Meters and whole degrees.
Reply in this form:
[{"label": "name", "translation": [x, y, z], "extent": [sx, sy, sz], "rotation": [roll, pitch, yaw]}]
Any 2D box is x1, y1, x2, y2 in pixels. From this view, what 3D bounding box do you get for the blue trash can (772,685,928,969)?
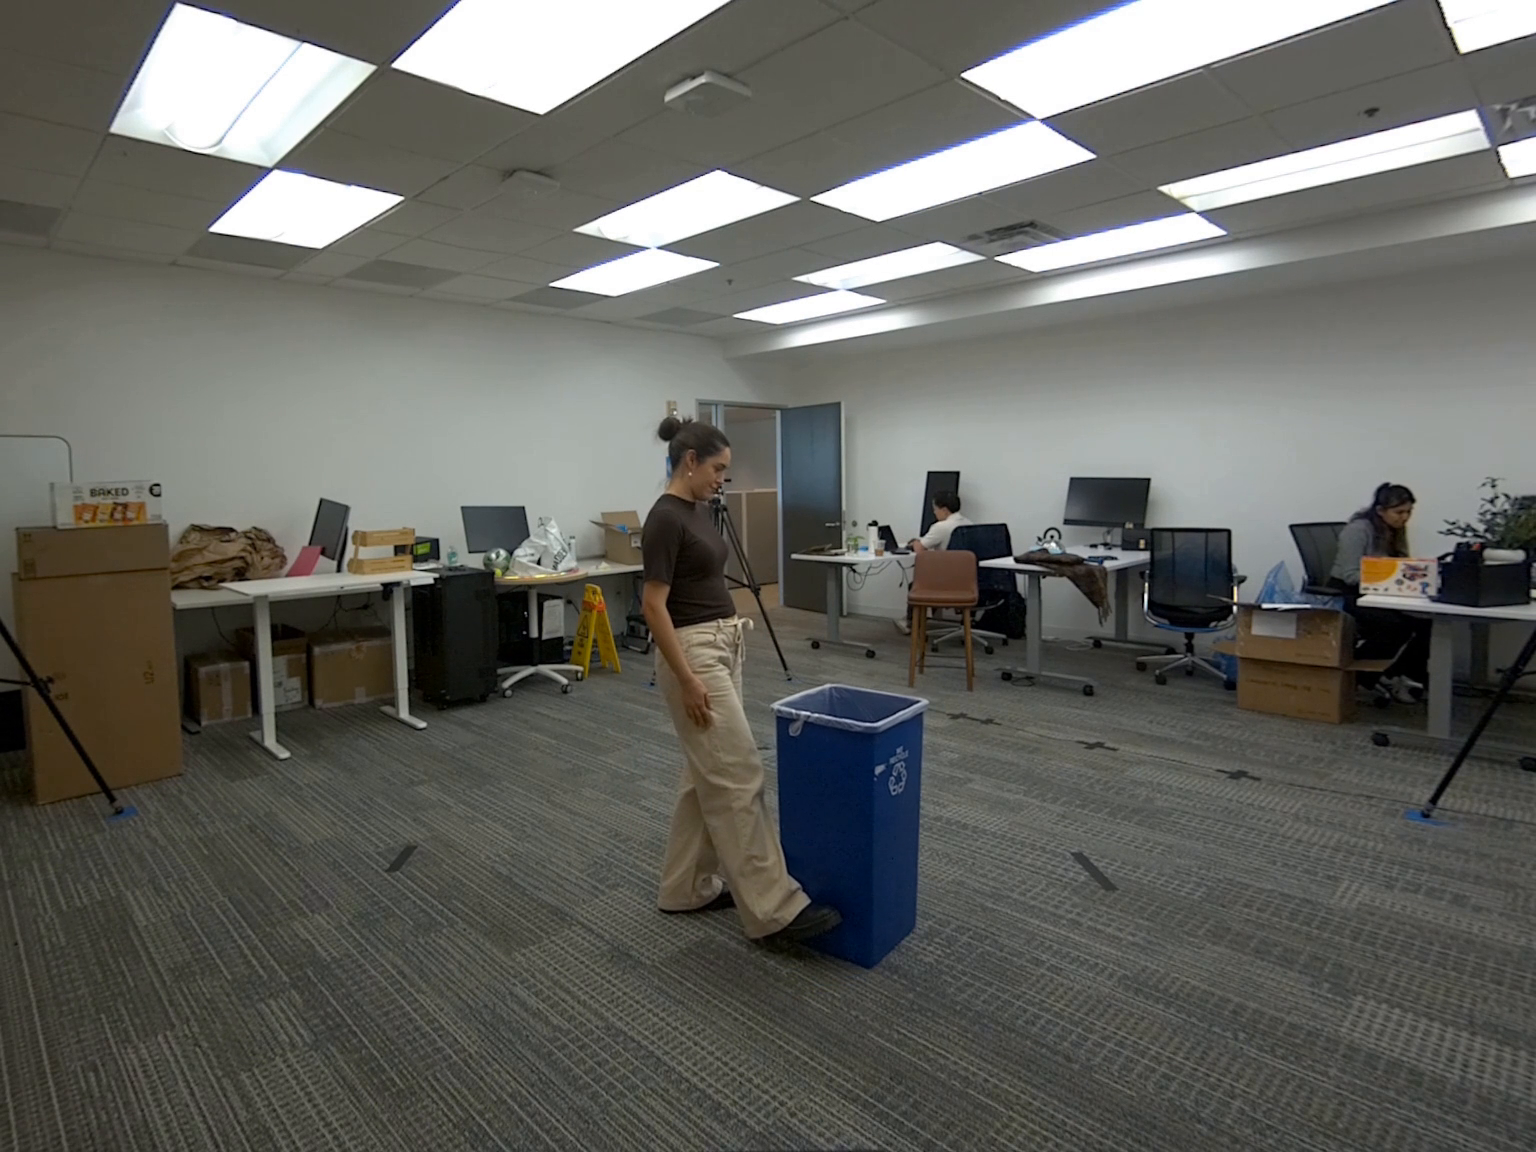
[{"label": "blue trash can", "translation": [0.261, 0.734, 2.605], "extent": [0.385, 0.711, 0.368], "rotation": [1, 4, 36]}]
